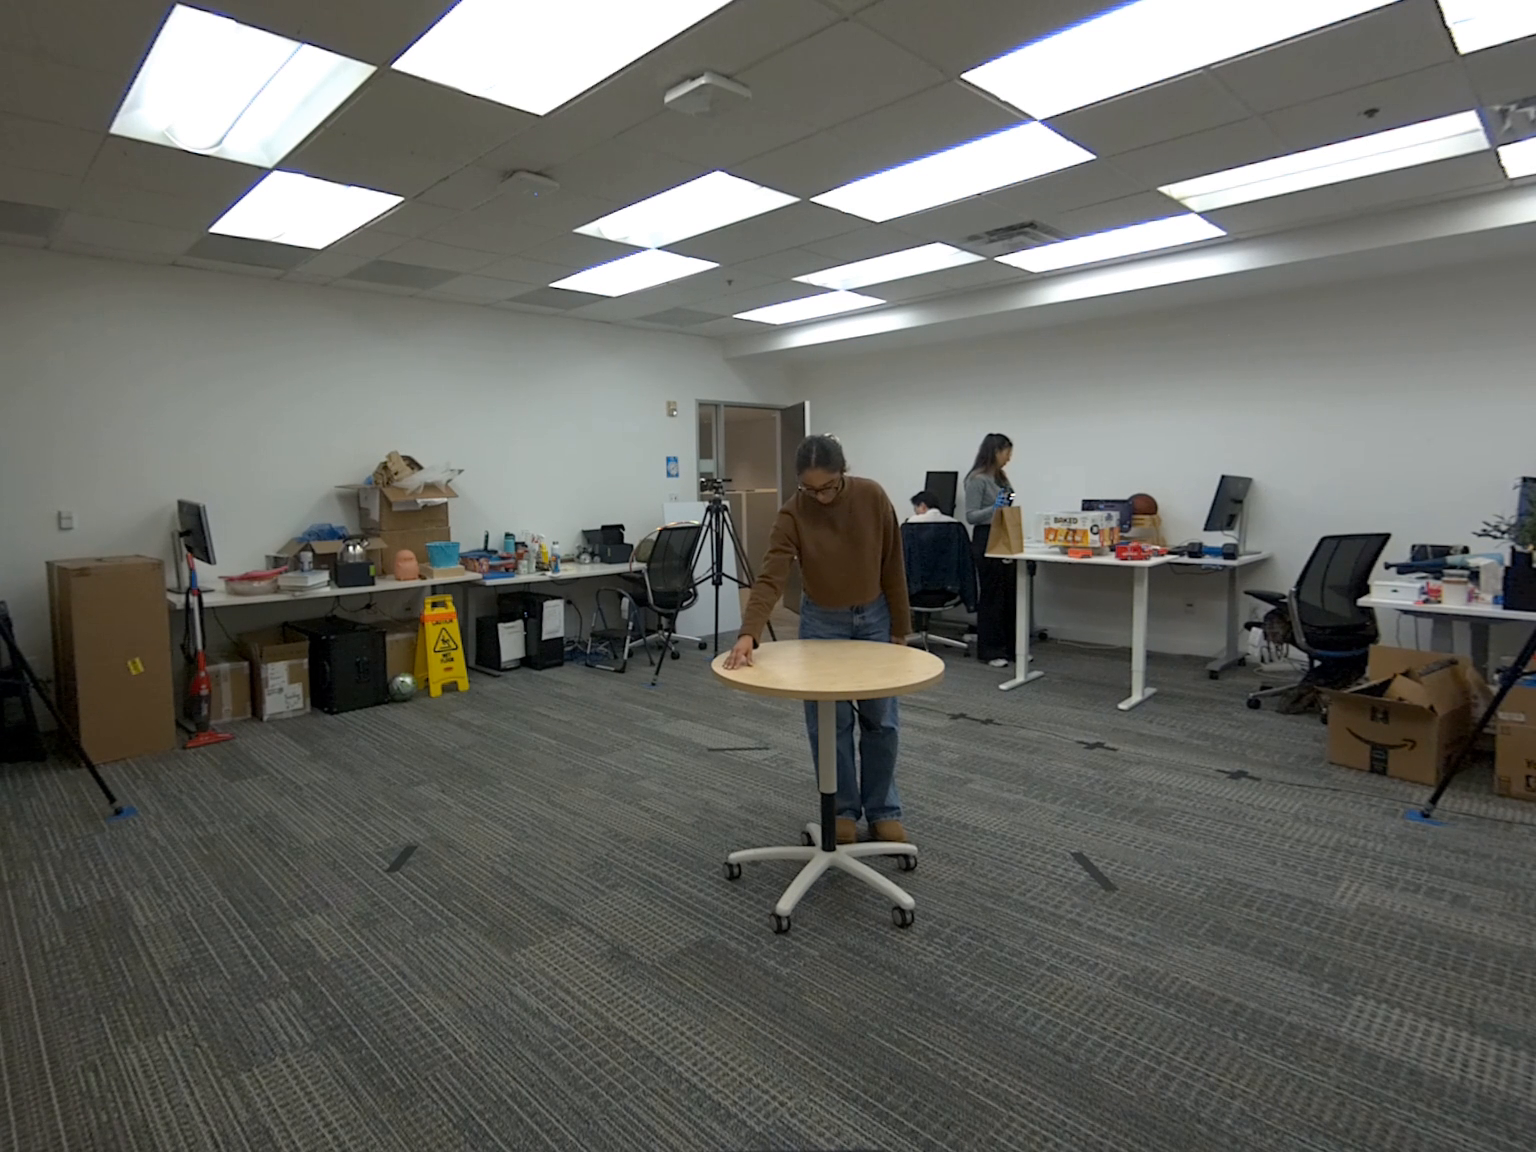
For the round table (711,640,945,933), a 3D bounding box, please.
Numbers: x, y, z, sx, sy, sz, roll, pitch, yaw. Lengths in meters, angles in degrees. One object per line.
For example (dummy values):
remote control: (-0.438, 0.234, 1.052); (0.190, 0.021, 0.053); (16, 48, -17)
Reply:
round table: (0.205, 0.680, 2.870); (0.763, 0.790, 0.768); (-1, 5, -2)
